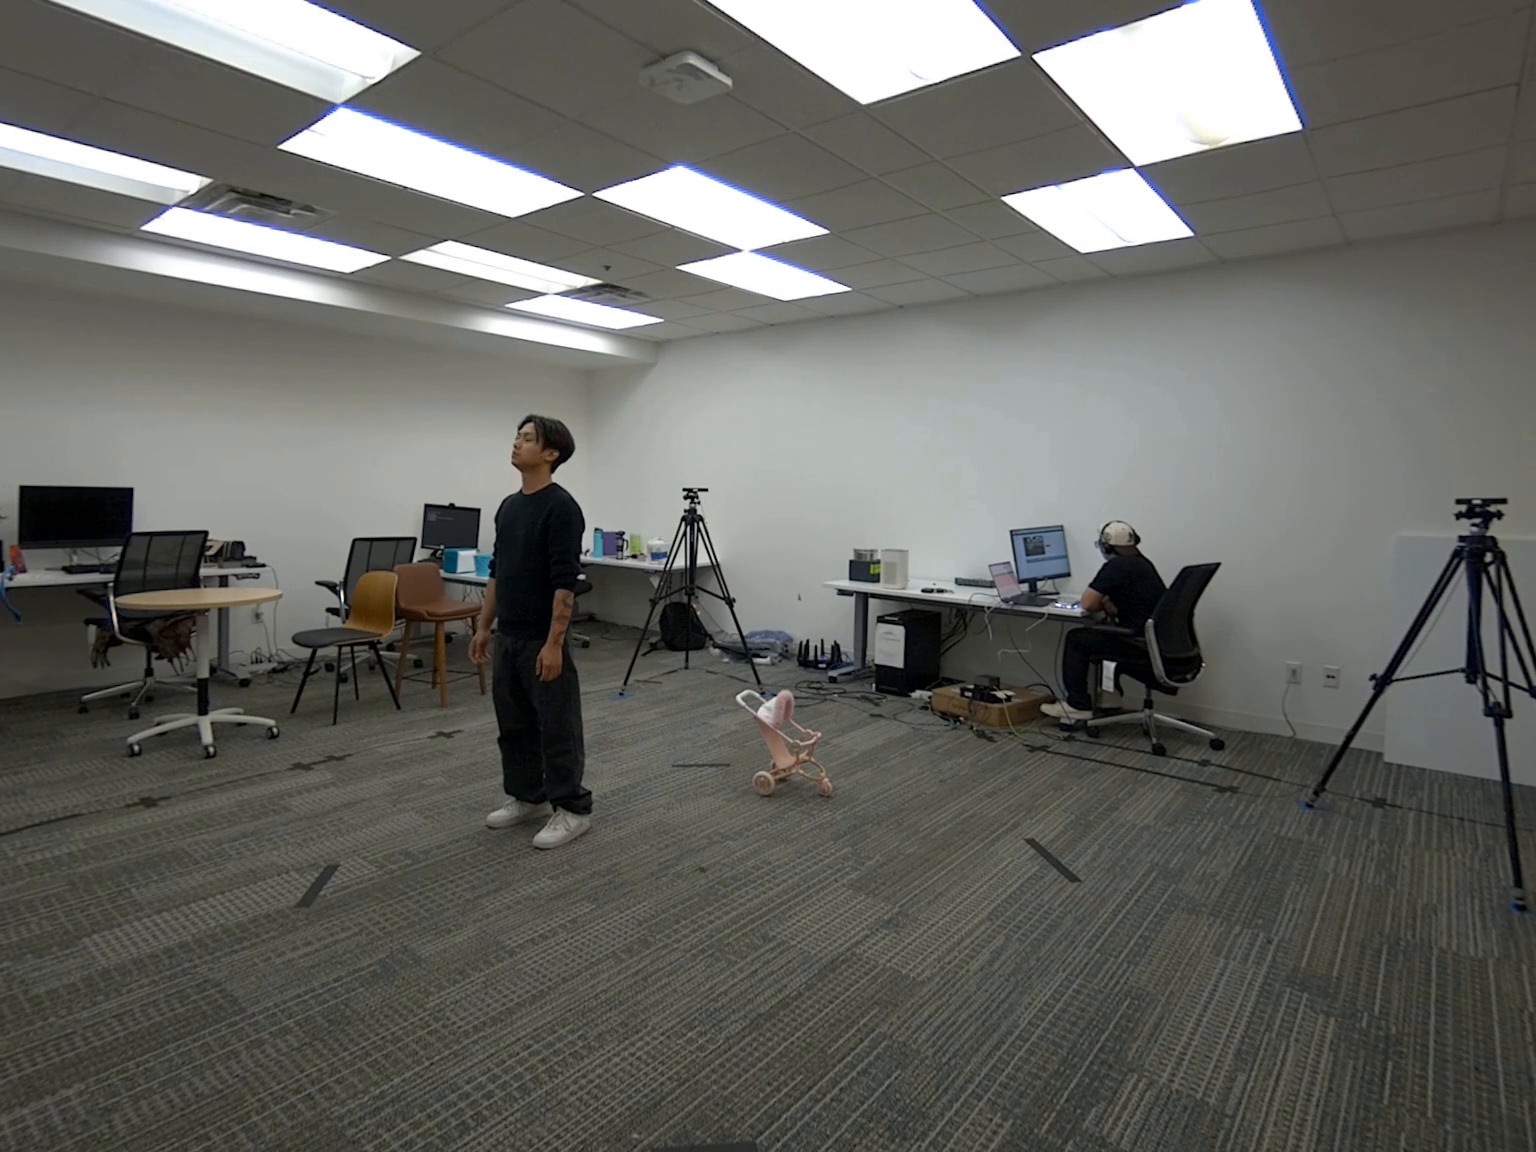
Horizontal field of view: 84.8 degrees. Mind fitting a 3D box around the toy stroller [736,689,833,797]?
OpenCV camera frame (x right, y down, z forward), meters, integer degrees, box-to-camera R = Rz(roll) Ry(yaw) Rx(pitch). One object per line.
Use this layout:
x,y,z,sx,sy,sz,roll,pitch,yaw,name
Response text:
0.076,0.772,3.957,0.347,0.538,0.275,-16,-4,25,toy stroller
